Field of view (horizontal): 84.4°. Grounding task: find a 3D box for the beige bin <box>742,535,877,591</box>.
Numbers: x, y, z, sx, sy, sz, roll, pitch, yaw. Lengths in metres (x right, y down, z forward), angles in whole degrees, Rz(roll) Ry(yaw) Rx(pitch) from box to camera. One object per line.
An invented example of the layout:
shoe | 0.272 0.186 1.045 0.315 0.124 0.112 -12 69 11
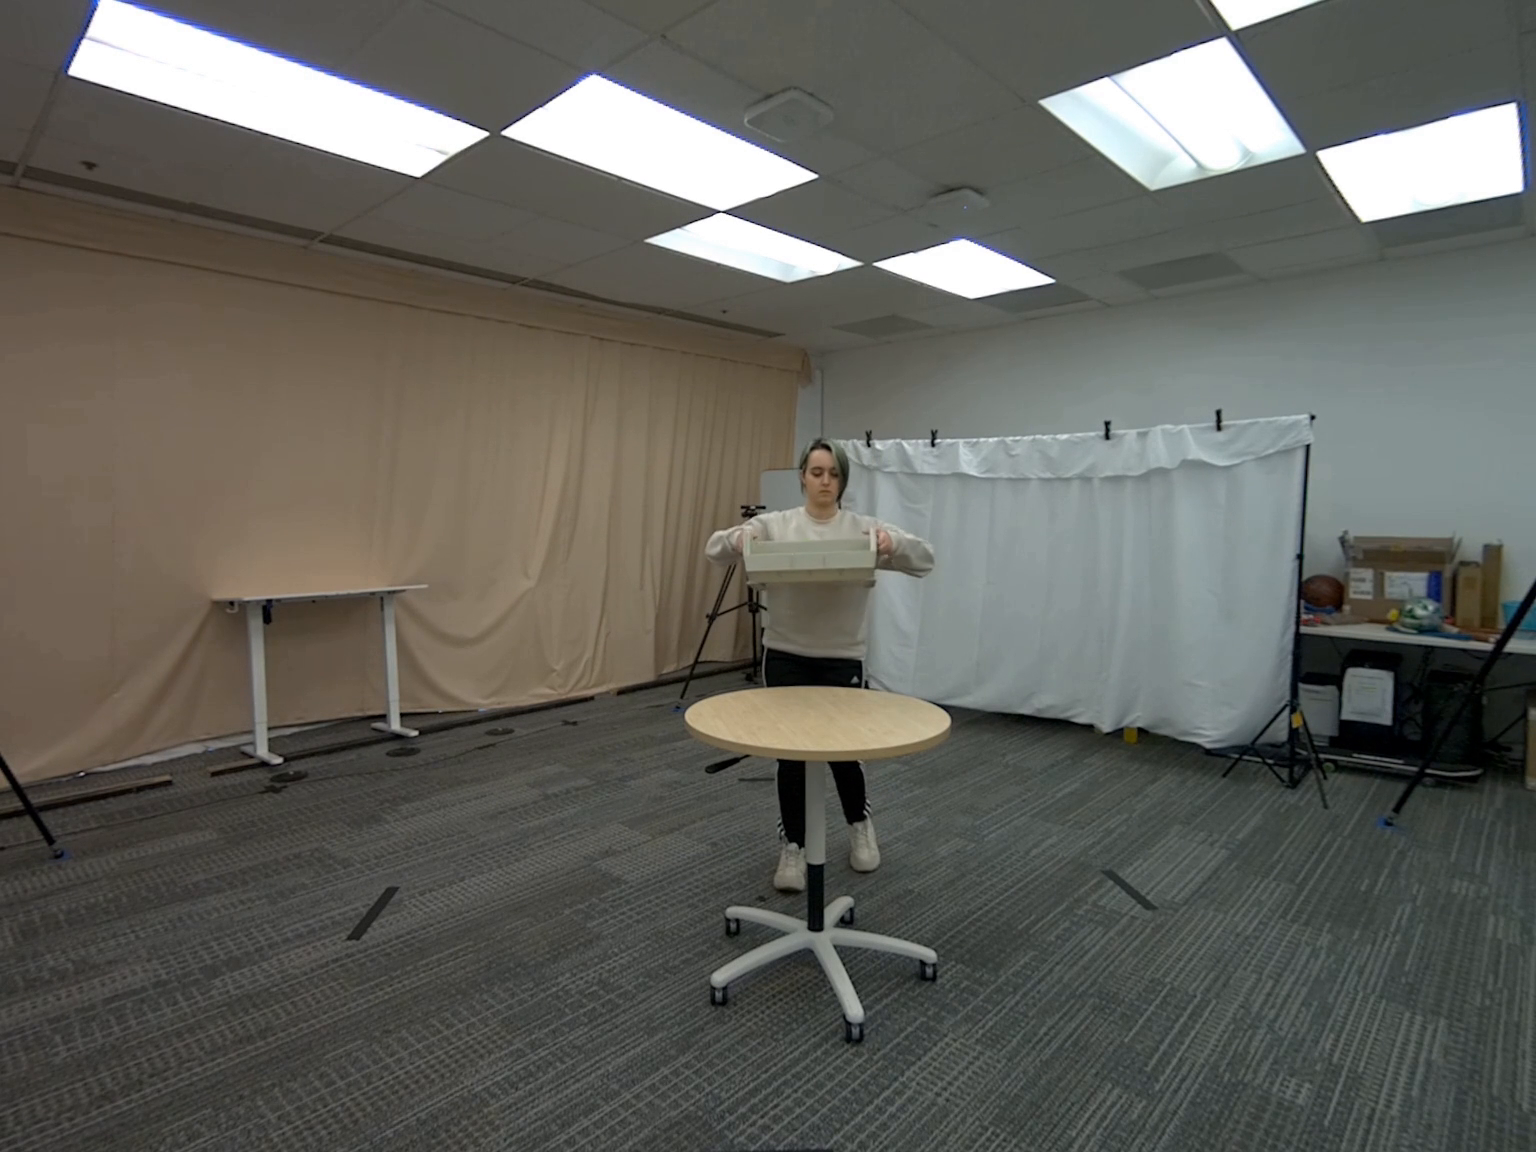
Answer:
beige bin | 0.149 -0.052 2.821 0.426 0.190 0.373 -2 -5 6
